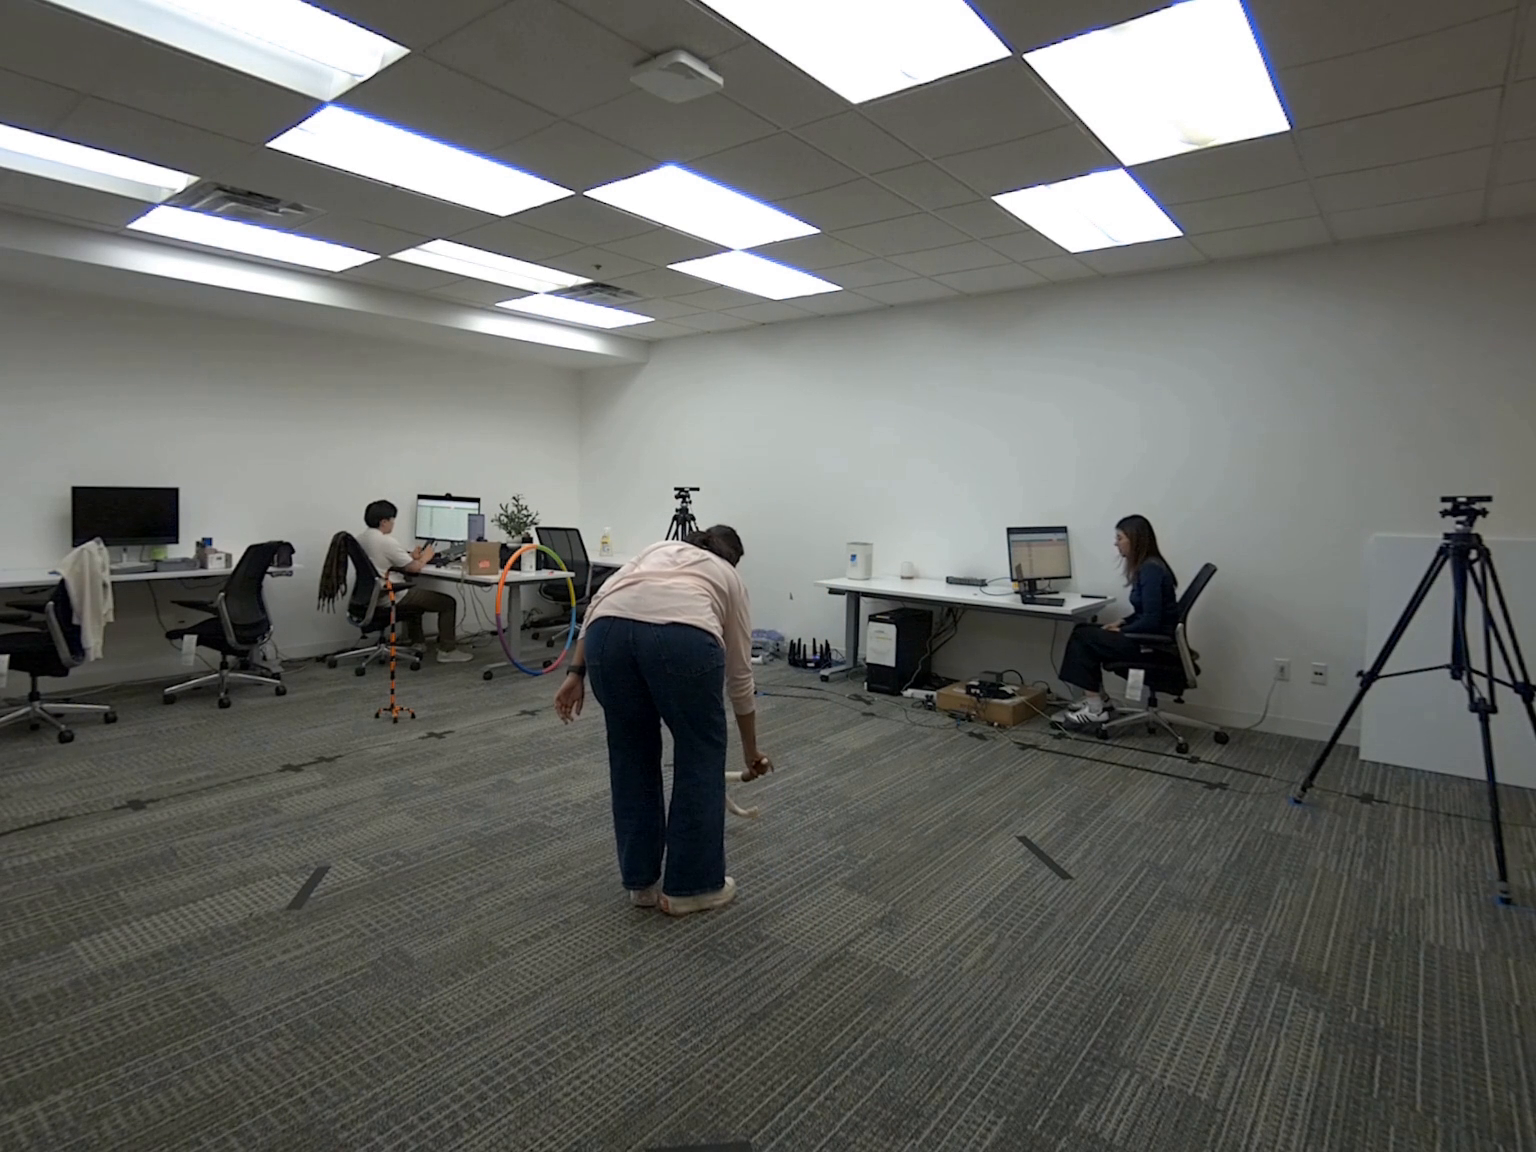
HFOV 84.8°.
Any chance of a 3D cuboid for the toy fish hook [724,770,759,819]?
[{"bbox_3d":[-0.085,0.824,3.310,0.048,0.226,0.507,-39,-3,-35],"label":"toy fish hook"}]
